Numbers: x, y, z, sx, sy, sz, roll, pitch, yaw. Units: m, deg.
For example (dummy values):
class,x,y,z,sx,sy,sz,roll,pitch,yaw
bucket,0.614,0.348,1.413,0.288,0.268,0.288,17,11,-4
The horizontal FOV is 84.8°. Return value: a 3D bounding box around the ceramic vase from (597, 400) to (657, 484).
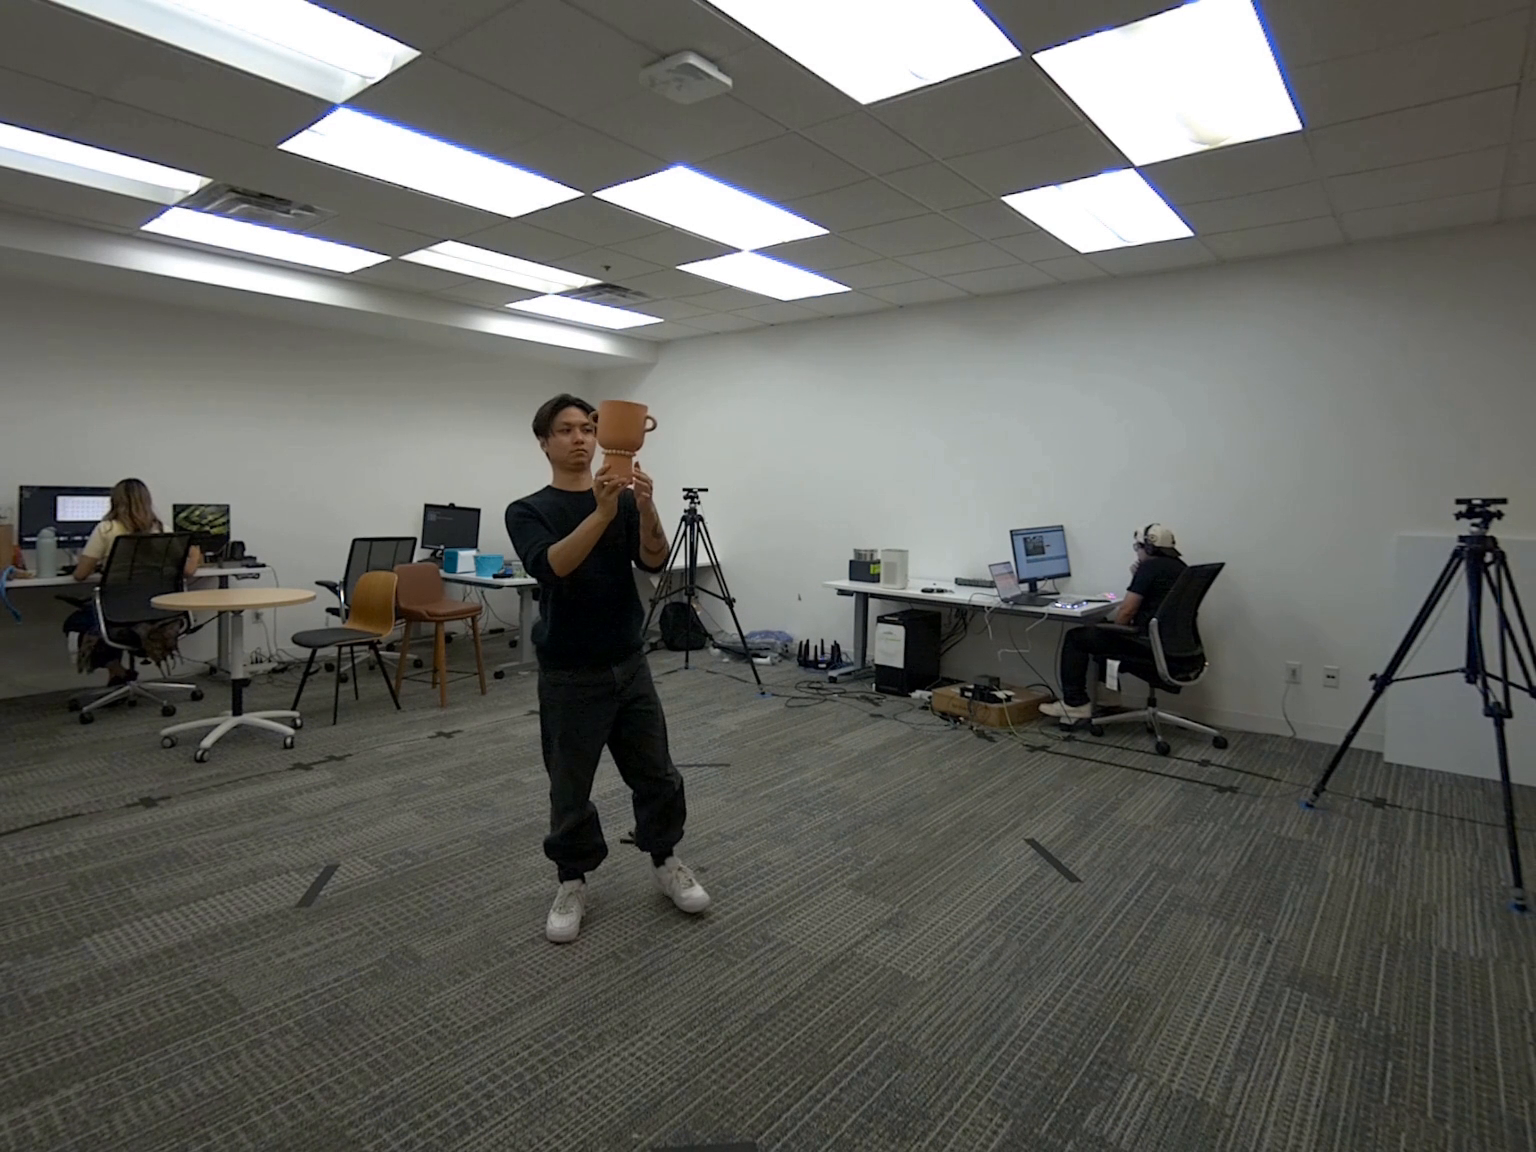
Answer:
class,x,y,z,sx,sy,sz,roll,pitch,yaw
ceramic vase,-0.417,-0.369,2.348,0.130,0.220,0.164,6,1,-40
